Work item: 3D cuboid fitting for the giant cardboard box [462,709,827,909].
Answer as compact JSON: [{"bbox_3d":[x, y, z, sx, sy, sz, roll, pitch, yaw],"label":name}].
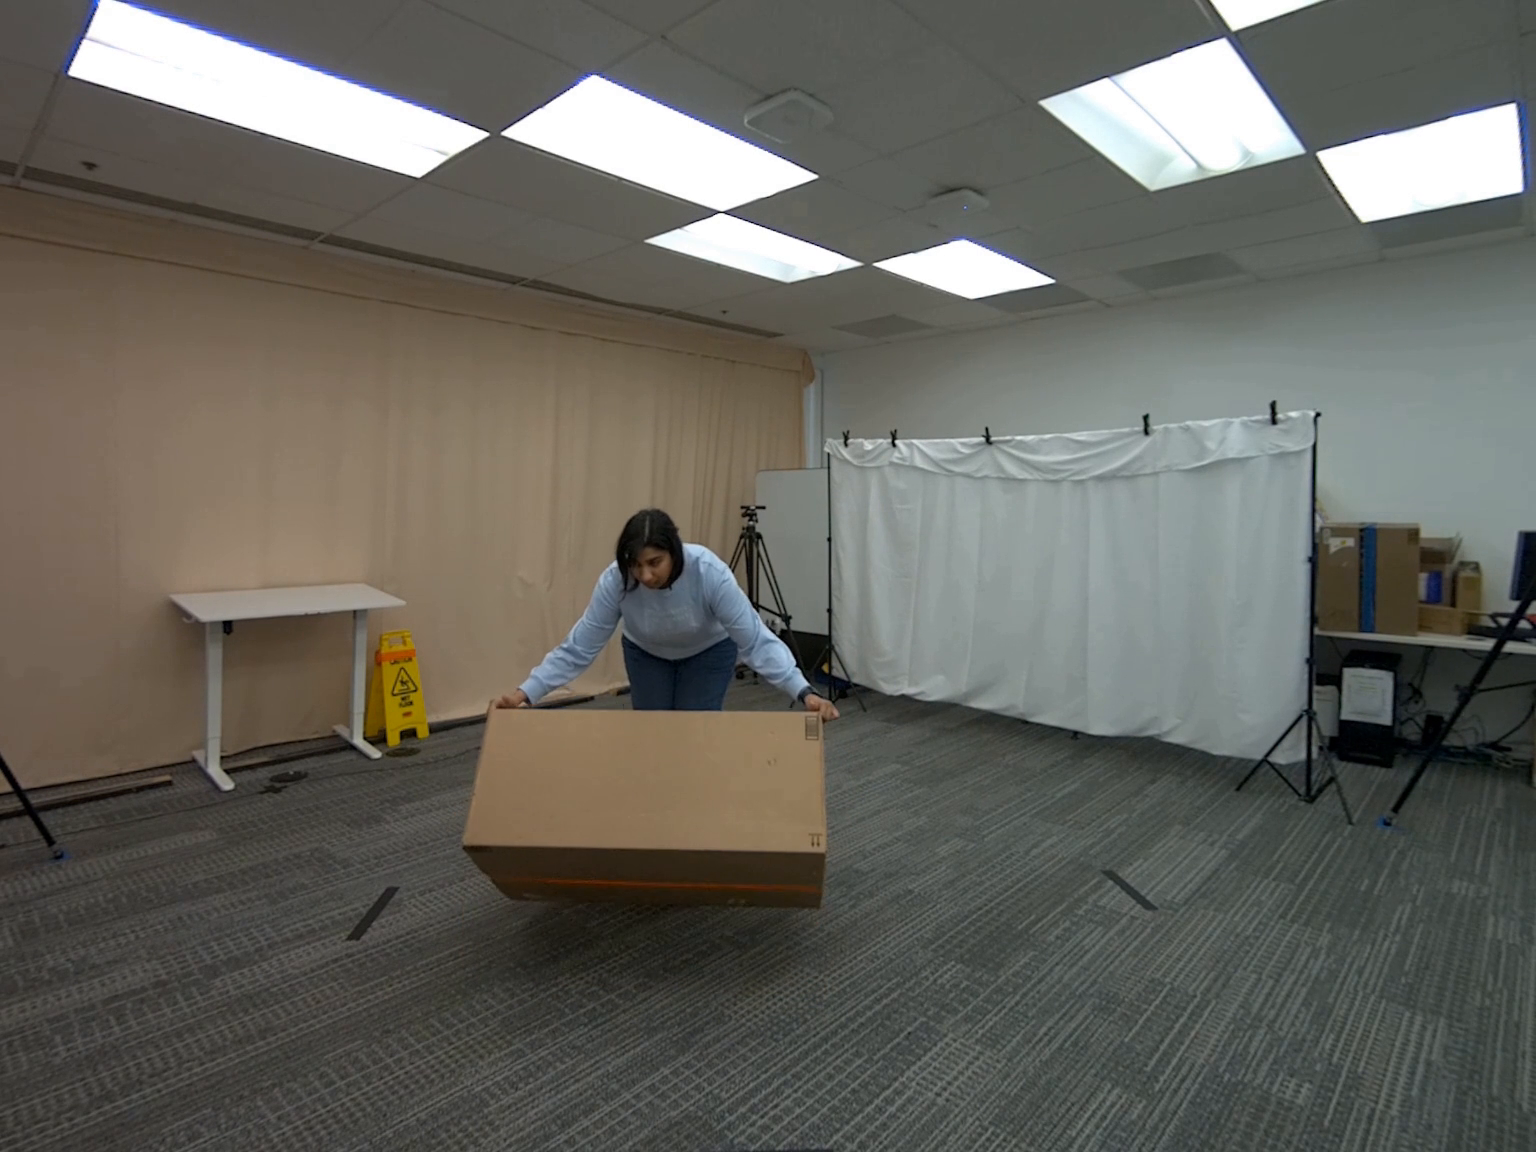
[{"bbox_3d":[-0.346,0.750,2.644,1.030,0.433,0.565,-1,-36,3],"label":"giant cardboard box"}]
